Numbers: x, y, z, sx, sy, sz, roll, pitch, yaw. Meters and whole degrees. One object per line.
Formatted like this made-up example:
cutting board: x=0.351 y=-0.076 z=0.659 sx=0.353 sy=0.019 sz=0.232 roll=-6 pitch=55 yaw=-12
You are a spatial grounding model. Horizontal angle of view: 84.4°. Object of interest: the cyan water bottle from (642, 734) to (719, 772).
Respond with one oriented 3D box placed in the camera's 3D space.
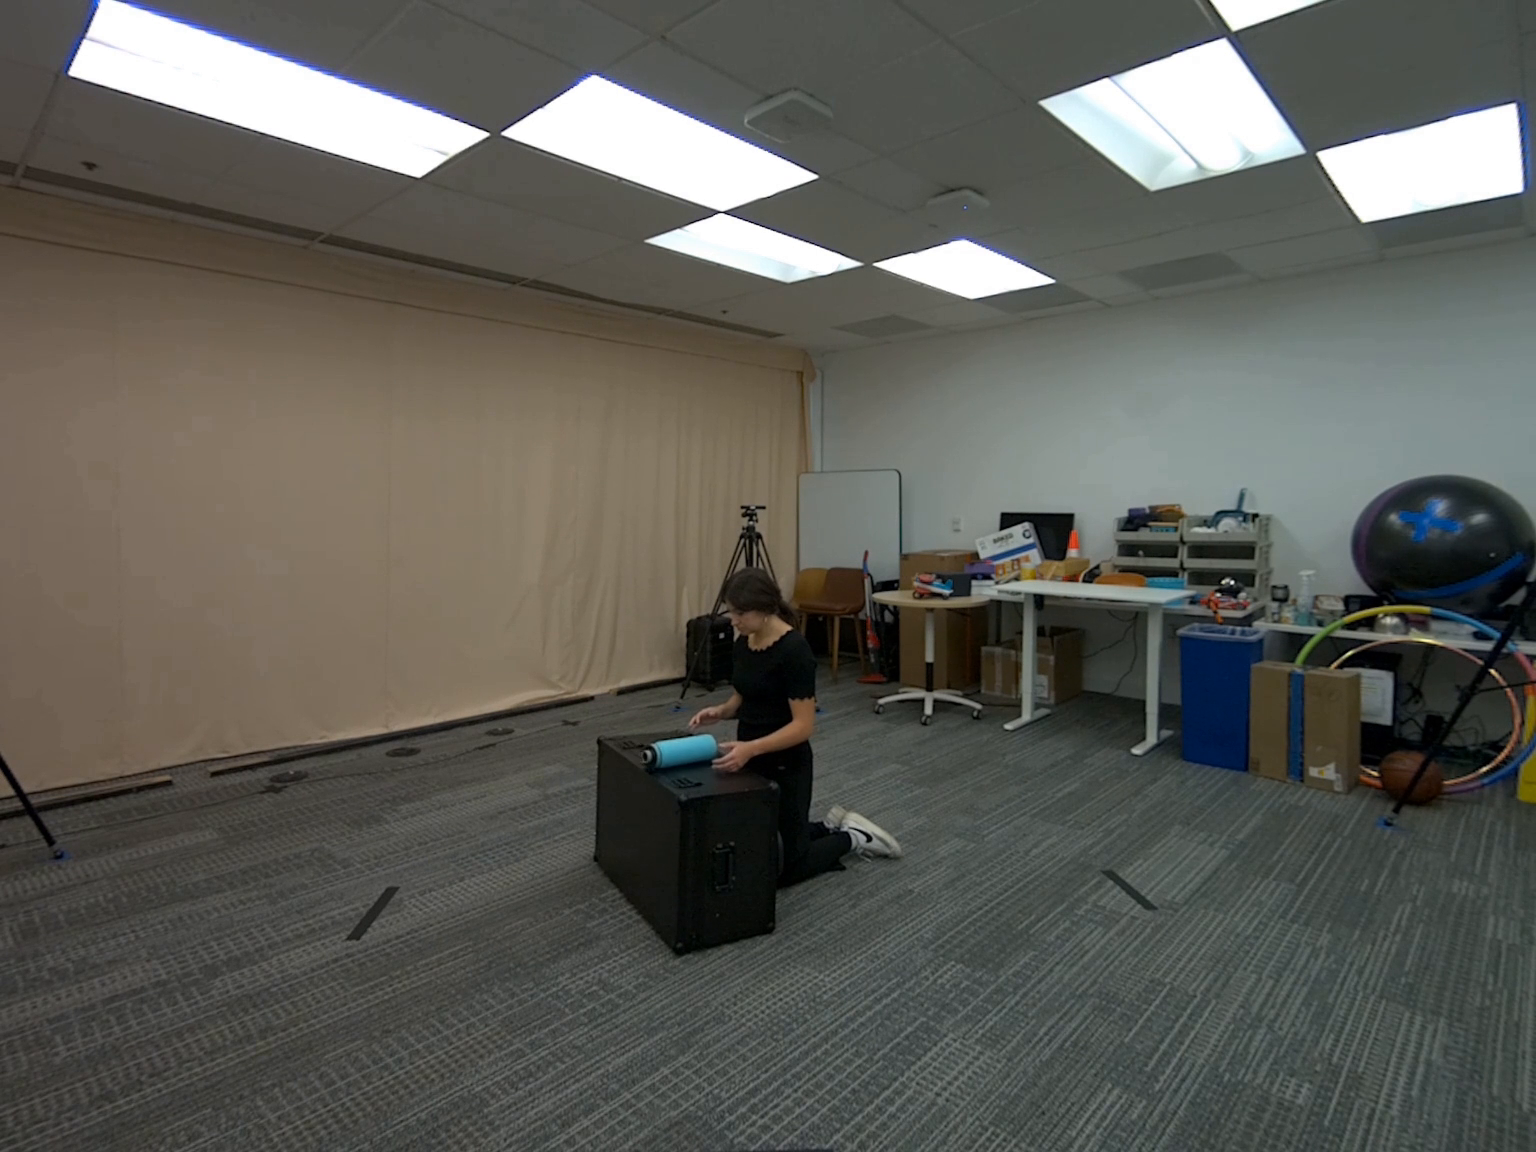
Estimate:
cyan water bottle: x=-0.303 y=0.611 z=2.934 sx=0.275 sy=0.092 sz=0.095 roll=-3 pitch=5 yaw=-41
